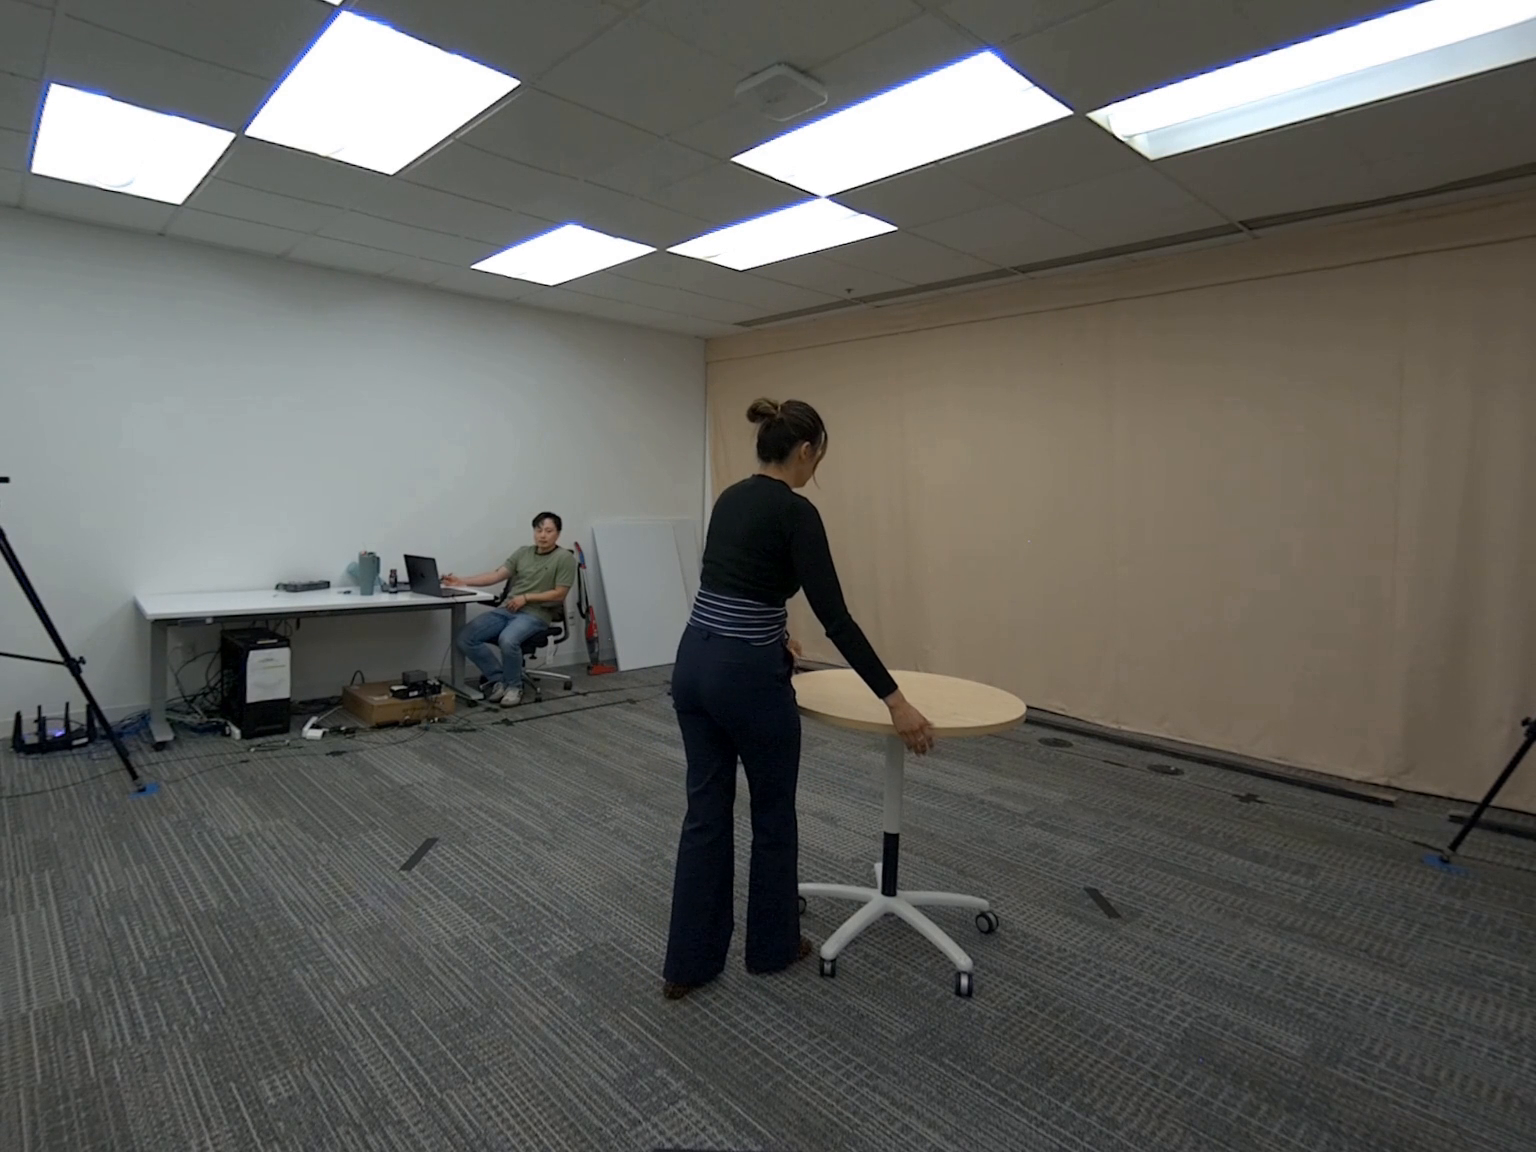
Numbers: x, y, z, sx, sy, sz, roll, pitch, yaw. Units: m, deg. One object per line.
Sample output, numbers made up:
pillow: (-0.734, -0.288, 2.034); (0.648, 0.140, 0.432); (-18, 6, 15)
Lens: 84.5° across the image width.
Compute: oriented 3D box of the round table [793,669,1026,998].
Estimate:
round table: (0.388, 0.766, 2.667); (0.763, 0.792, 0.766); (2, 4, -2)
